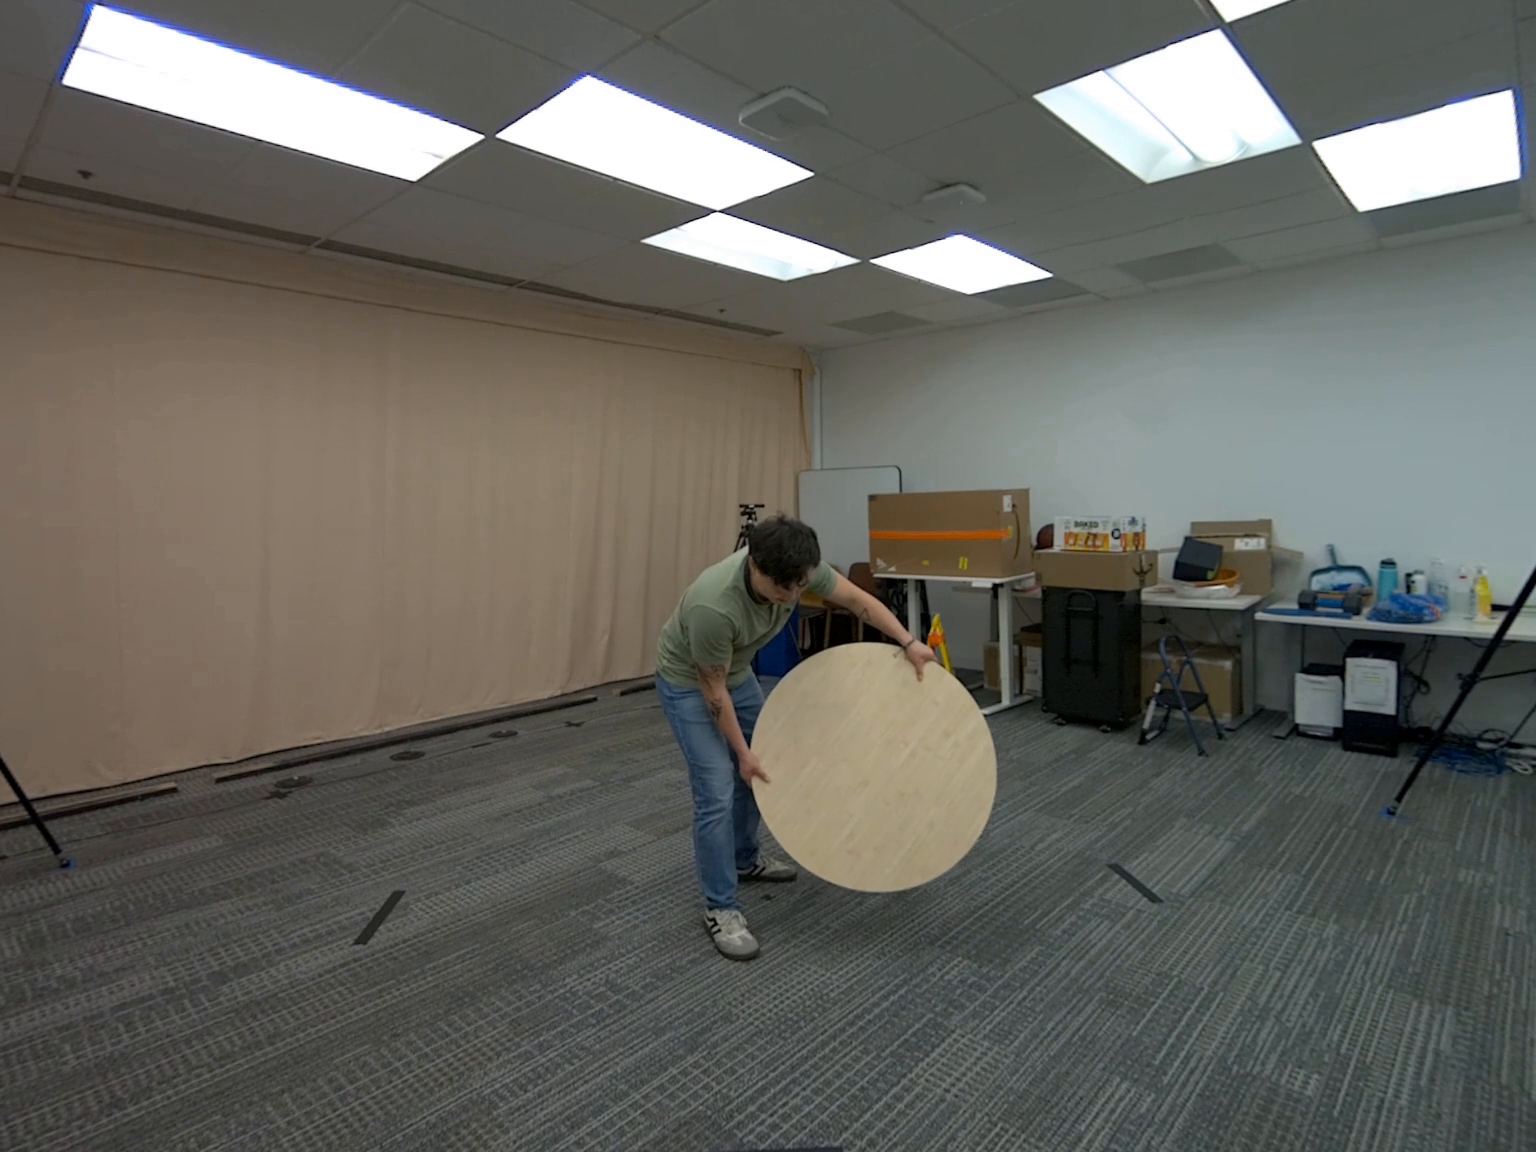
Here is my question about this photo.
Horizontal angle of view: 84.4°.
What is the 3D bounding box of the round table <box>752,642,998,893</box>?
[{"bbox_3d":[0.365,0.713,3.013,0.771,0.772,0.777,0,-20,8],"label":"round table"}]
